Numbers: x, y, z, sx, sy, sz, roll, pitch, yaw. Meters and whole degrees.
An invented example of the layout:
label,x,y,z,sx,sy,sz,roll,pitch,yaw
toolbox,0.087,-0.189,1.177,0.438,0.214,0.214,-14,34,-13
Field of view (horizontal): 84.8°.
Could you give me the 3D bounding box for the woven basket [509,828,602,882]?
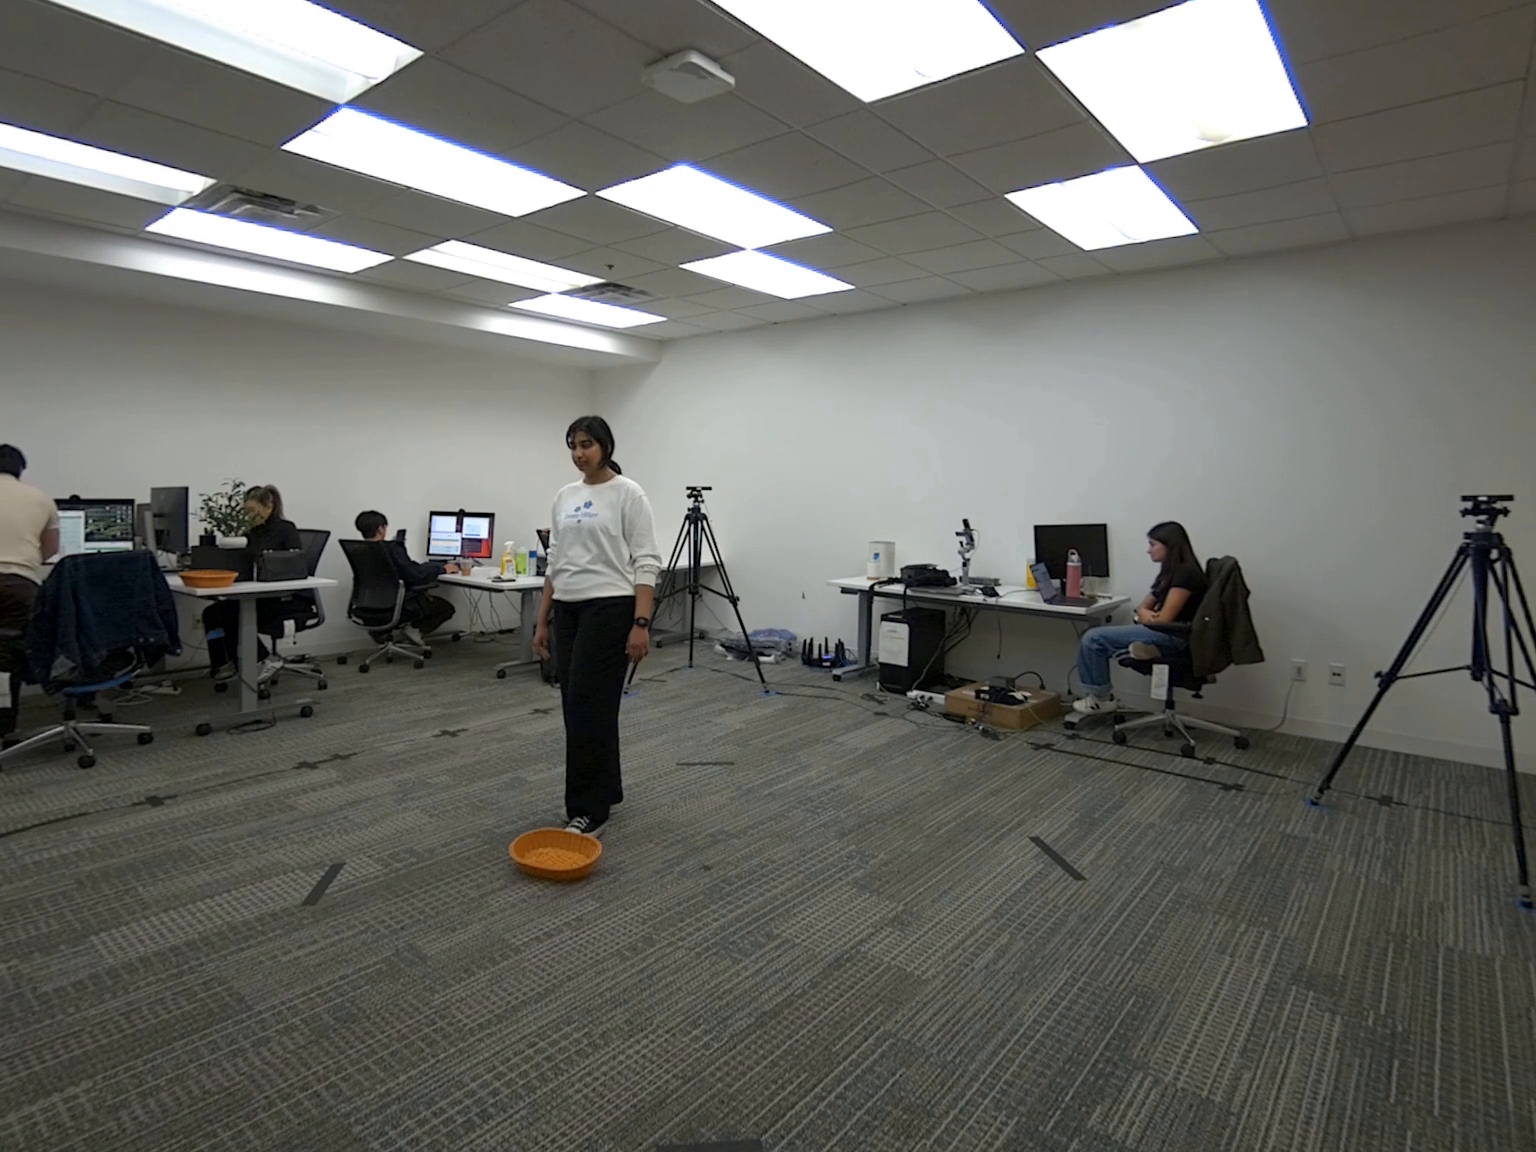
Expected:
label,x,y,z,sx,sy,sz,roll,pitch,yaw
woven basket,-0.773,1.011,3.088,0.359,0.073,0.249,4,13,22
